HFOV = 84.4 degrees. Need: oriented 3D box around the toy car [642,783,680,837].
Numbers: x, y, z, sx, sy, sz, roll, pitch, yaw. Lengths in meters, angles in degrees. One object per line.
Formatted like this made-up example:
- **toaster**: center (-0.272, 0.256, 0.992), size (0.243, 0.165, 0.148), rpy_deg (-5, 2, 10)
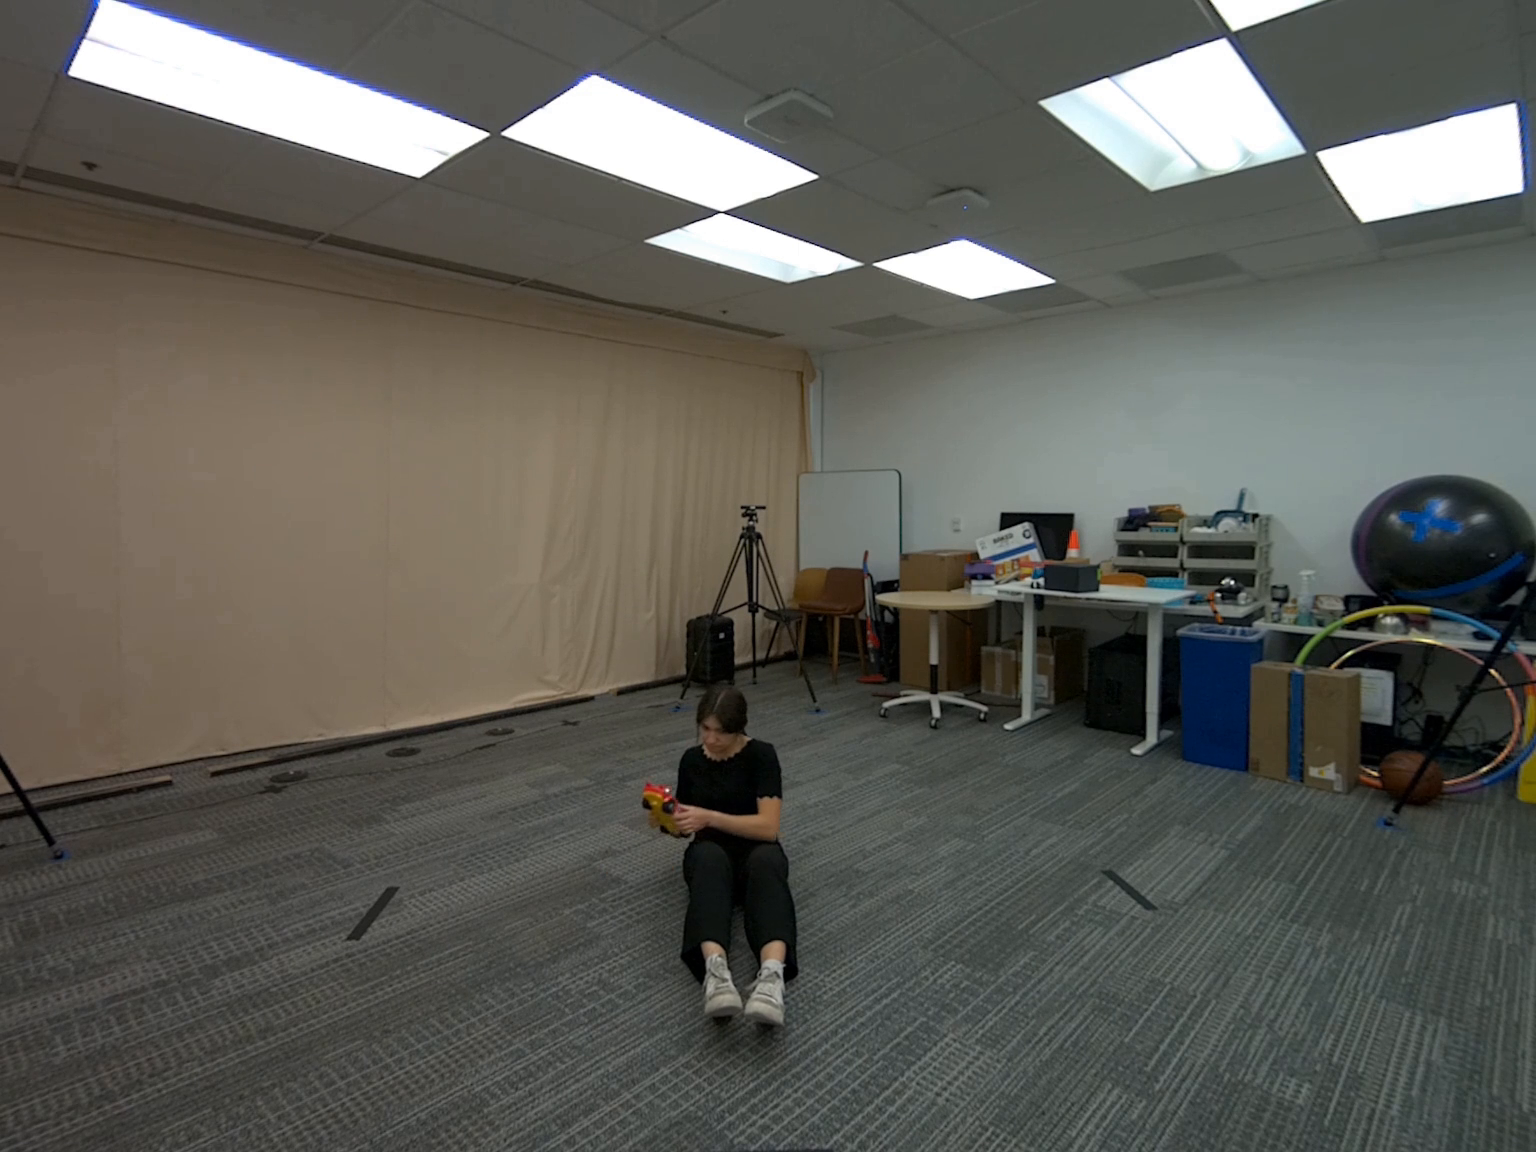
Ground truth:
- **toy car**: center (-0.339, 0.821, 2.923), size (0.134, 0.250, 0.082), rpy_deg (-4, 24, 33)
